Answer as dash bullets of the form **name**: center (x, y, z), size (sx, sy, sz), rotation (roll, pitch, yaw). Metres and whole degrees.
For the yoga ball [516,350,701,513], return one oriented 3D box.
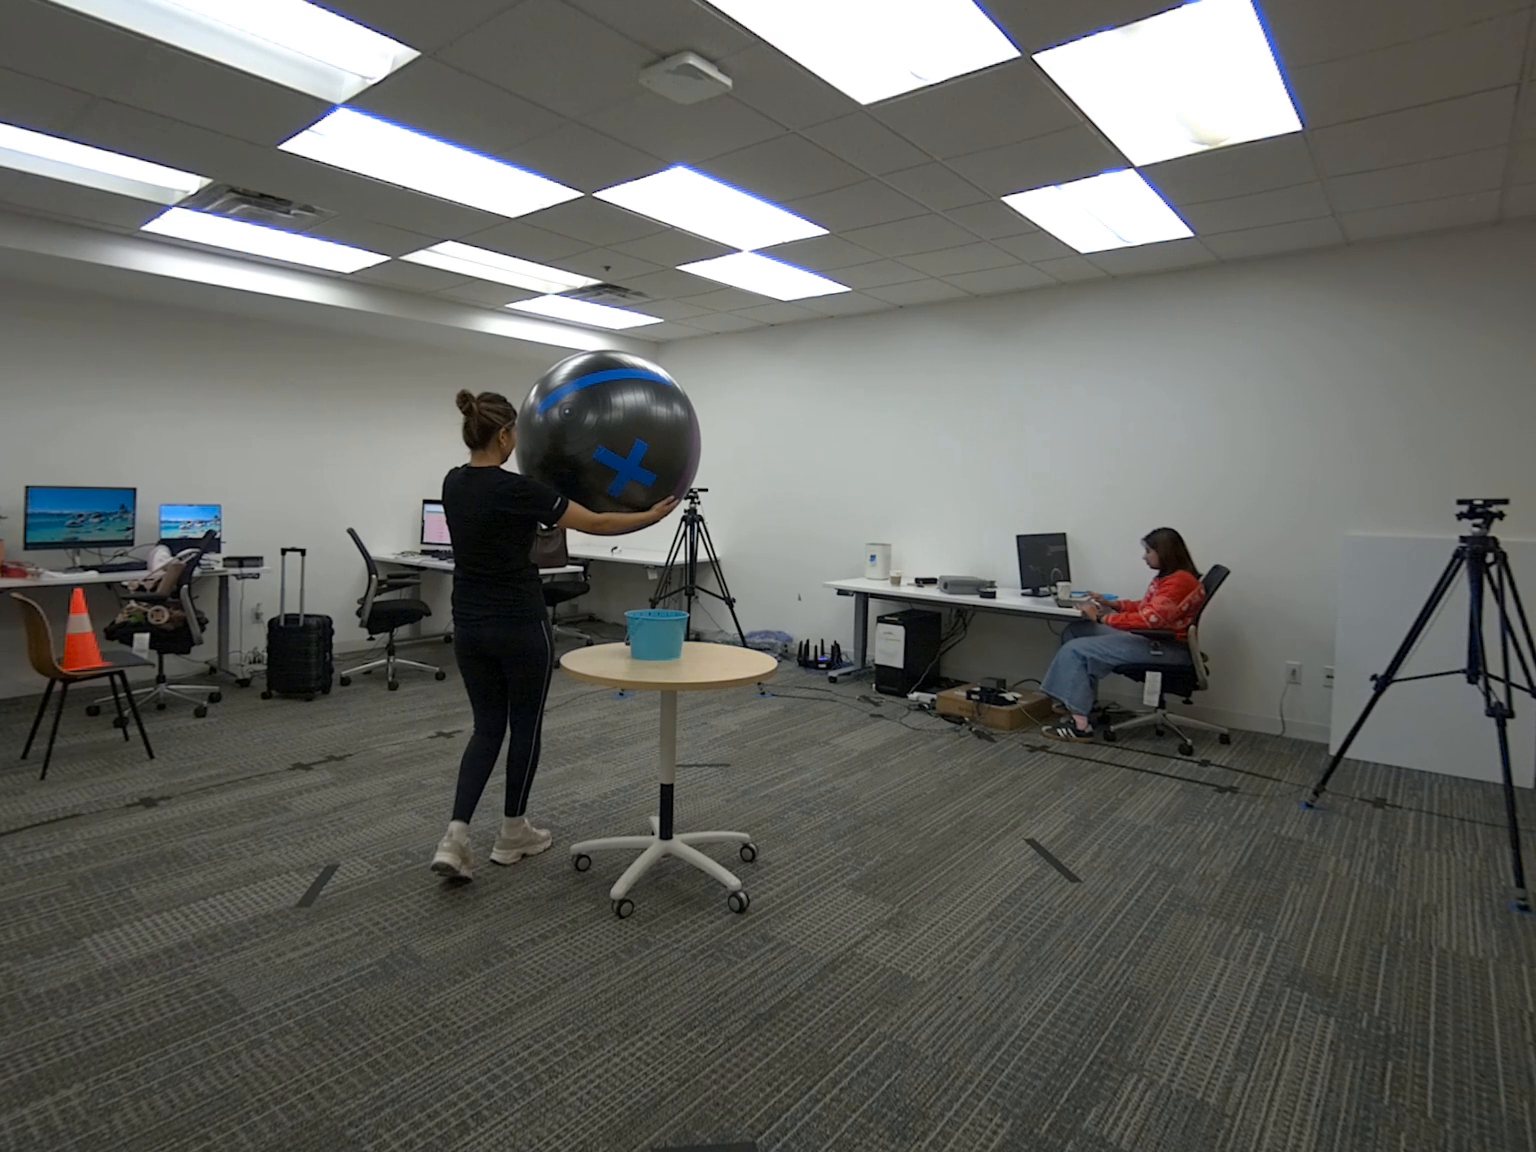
- **yoga ball**: center (-0.667, -0.542, 3.489), size (0.757, 0.756, 0.761), rotation (1, 4, -2)
